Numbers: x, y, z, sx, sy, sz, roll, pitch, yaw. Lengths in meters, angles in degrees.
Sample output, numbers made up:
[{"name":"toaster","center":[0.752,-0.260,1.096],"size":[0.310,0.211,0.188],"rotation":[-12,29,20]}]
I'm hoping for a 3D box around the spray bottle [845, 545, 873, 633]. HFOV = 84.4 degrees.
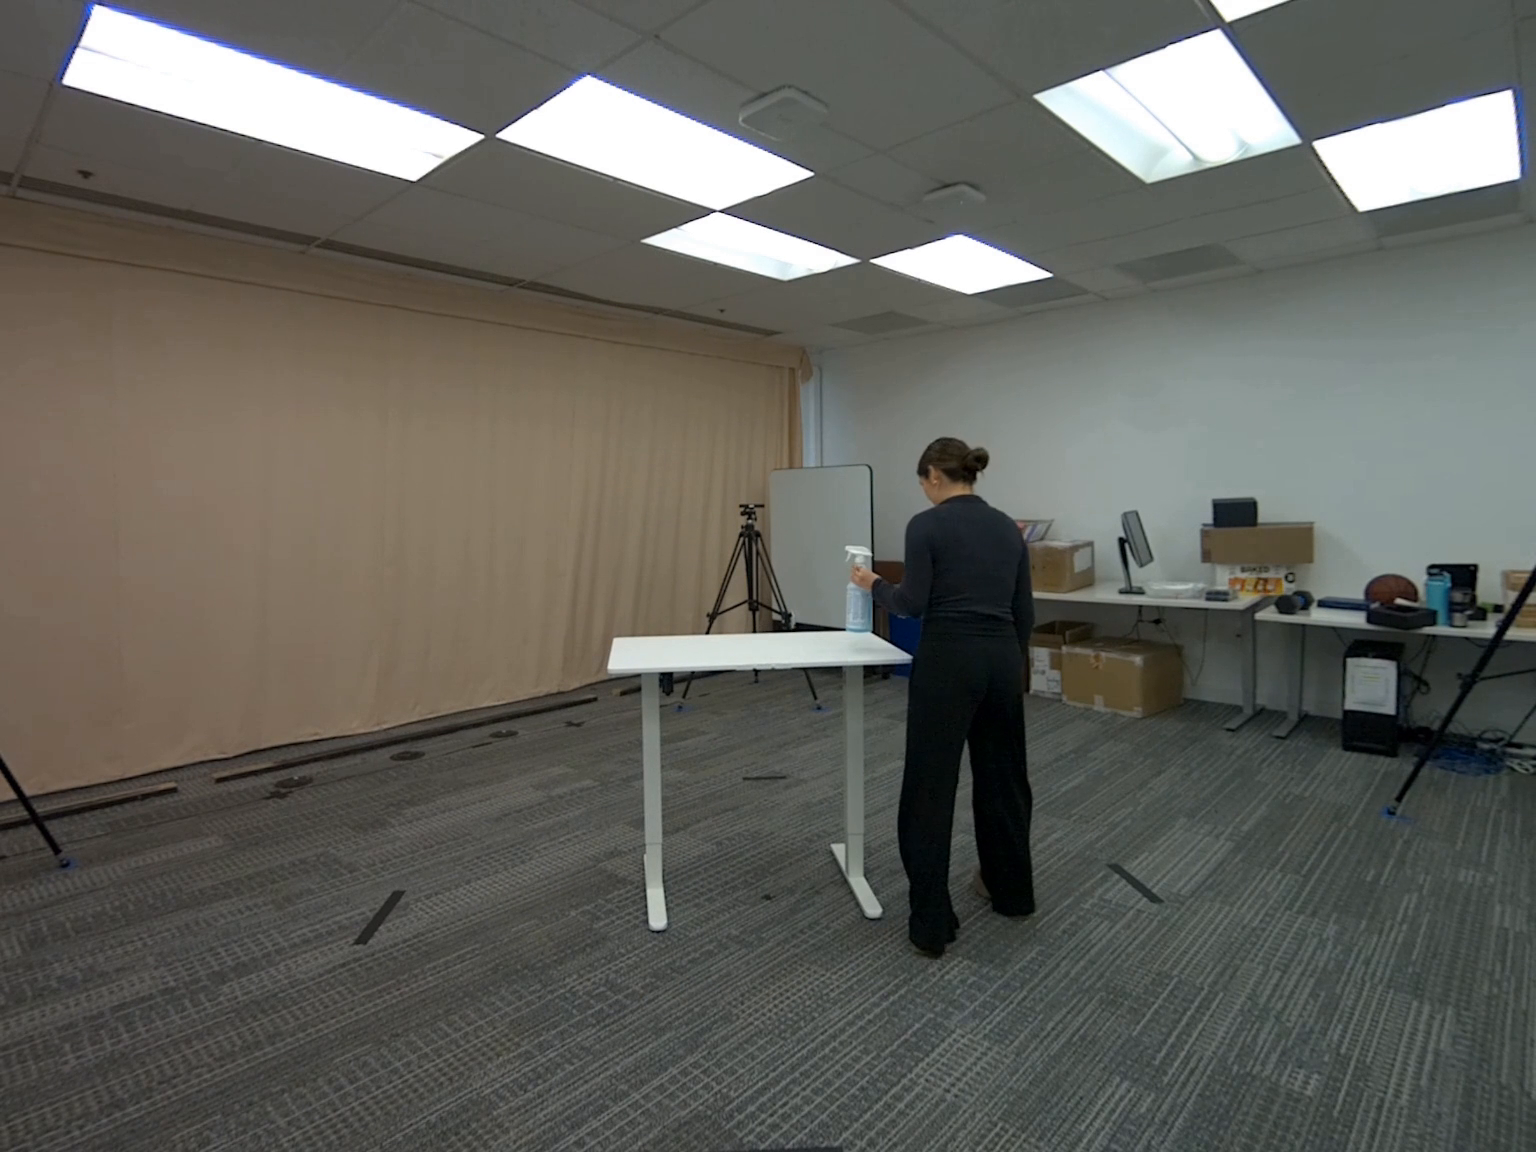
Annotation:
[{"name":"spray bottle","center":[0.329,0.048,2.924],"size":[0.093,0.297,0.084],"rotation":[2,3,41]}]
